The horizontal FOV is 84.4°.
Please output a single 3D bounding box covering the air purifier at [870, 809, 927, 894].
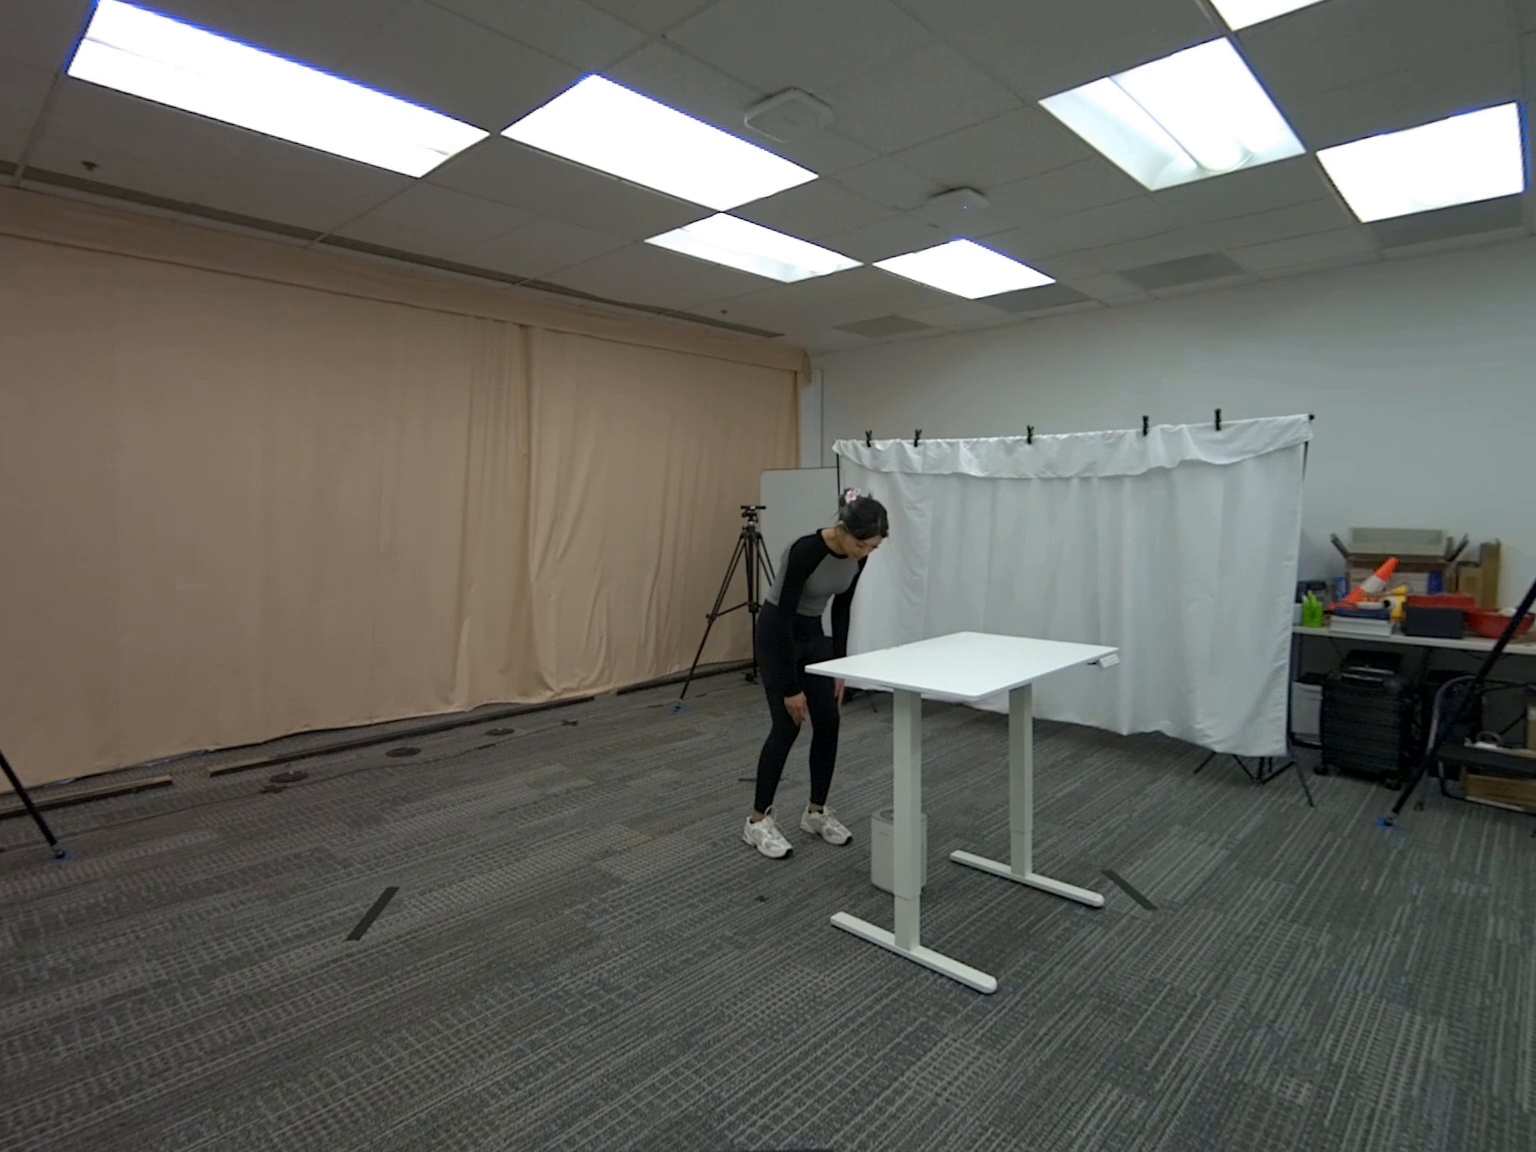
[{"bbox_3d":[0.482,1.000,3.074,0.177,0.265,0.166,3,4,42],"label":"air purifier"}]
